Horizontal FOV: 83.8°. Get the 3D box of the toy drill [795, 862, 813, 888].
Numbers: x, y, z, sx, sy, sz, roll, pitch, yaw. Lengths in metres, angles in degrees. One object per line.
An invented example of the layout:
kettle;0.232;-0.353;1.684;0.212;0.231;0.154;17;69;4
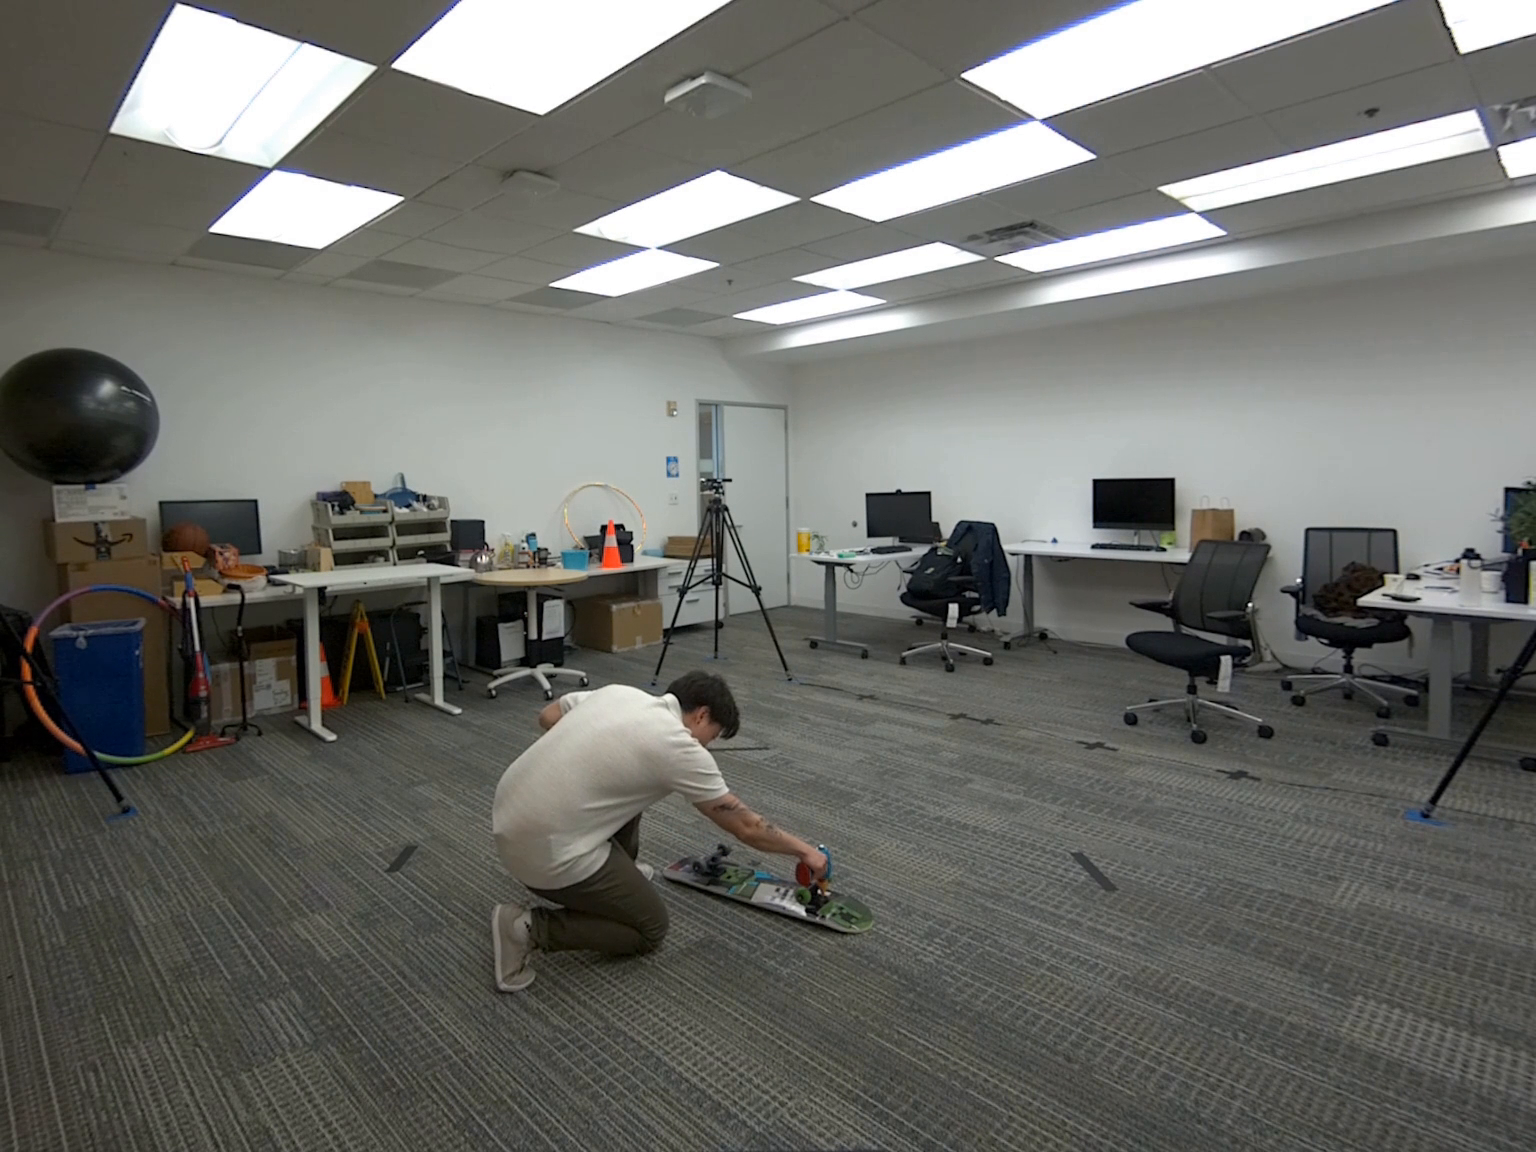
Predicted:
toy drill;0.148;0.948;2.706;0.063;0.168;0.142;12;14;44
